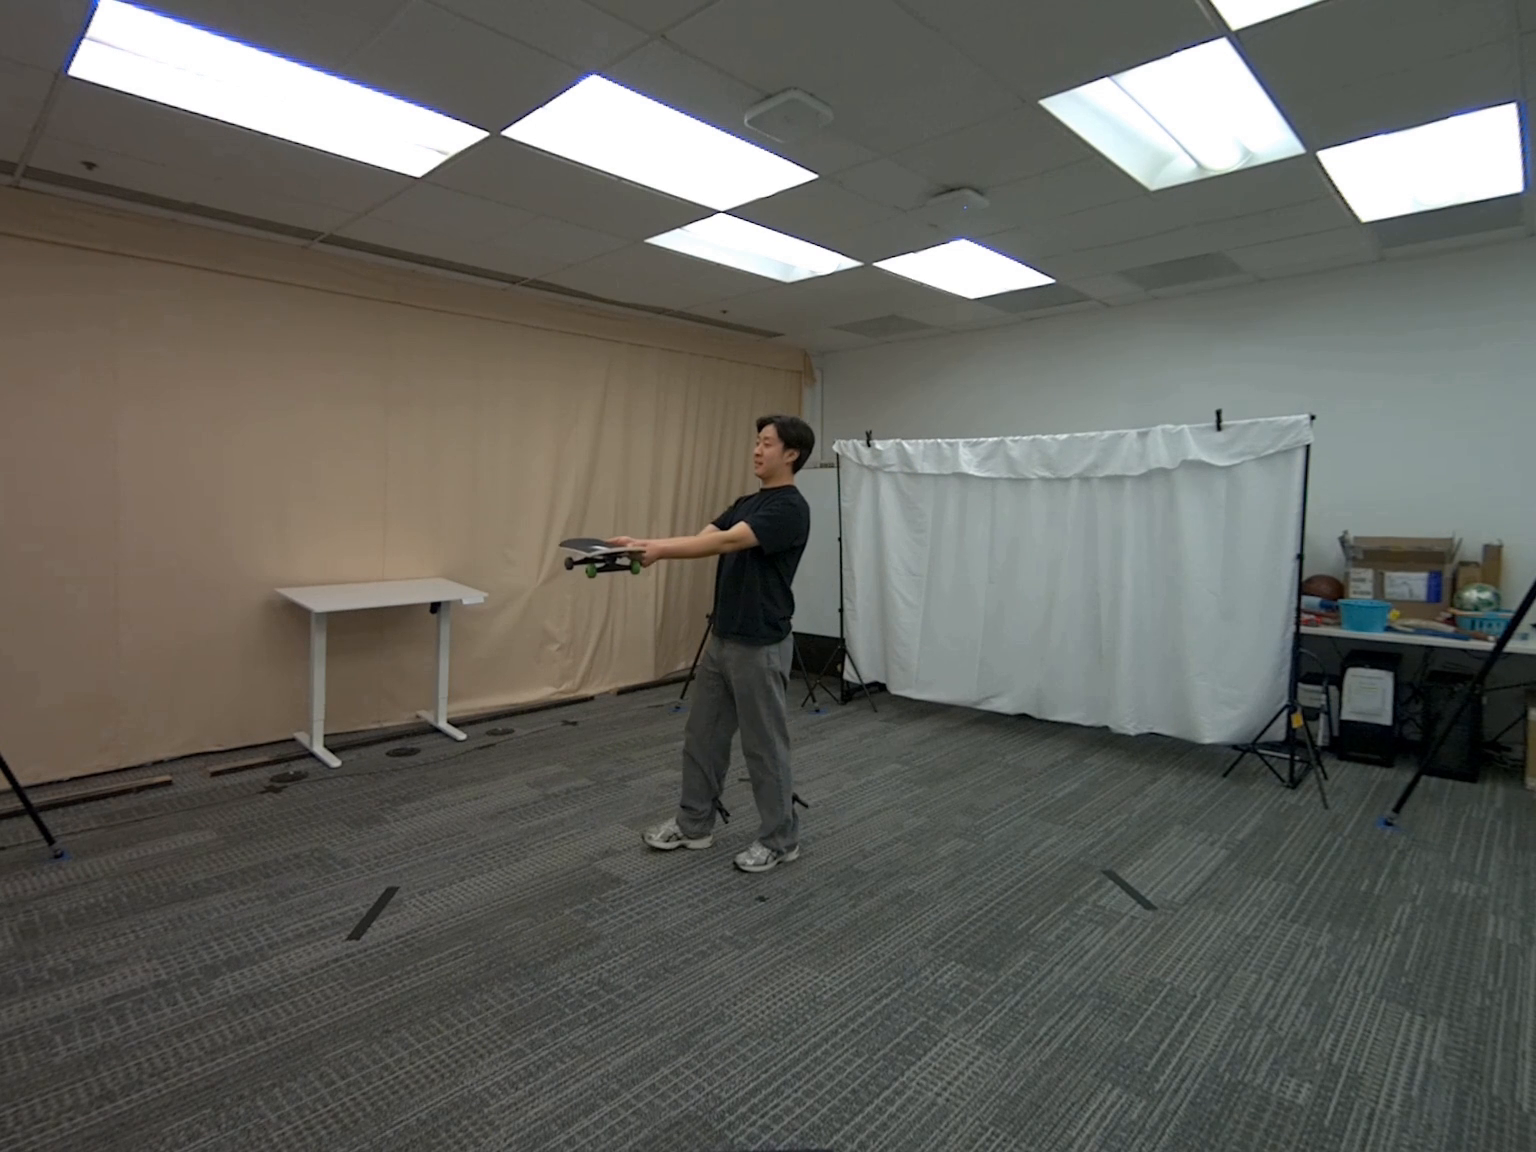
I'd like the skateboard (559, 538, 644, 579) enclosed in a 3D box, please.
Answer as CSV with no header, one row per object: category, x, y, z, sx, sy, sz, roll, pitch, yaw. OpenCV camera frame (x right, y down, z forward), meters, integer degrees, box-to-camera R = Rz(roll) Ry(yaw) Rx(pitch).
skateboard,-0.625,-0.067,3.111,0.189,0.110,0.805,-7,7,-23
